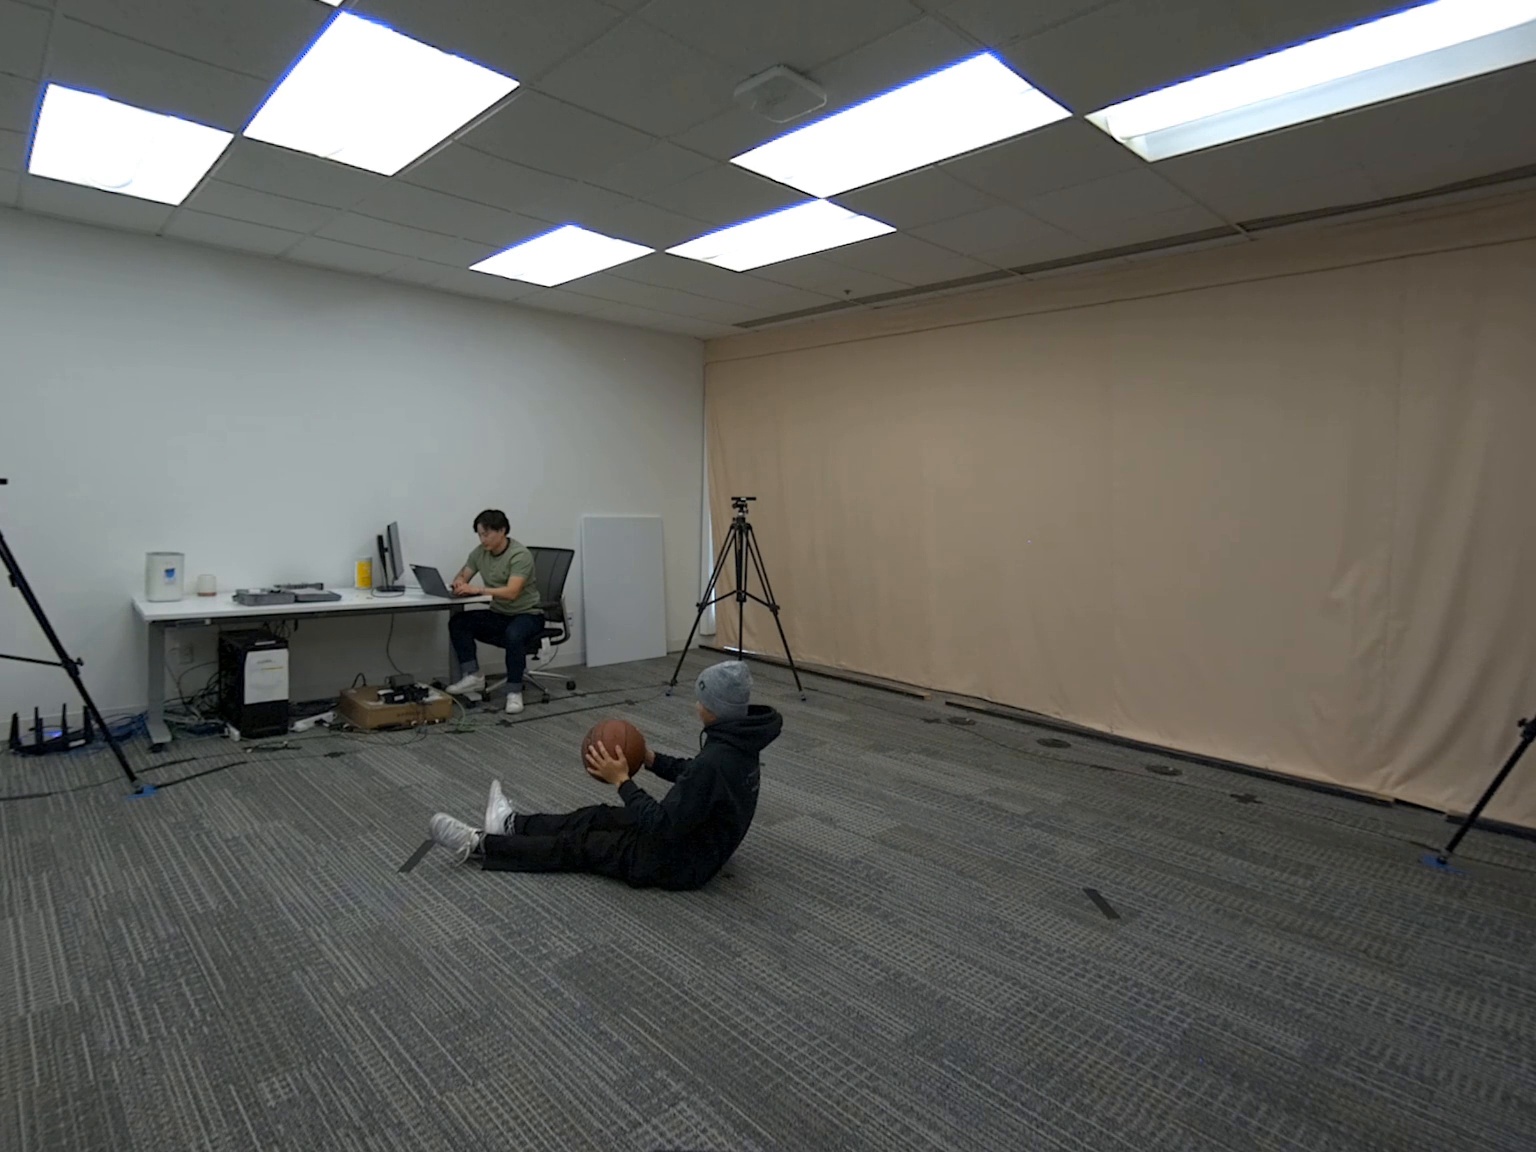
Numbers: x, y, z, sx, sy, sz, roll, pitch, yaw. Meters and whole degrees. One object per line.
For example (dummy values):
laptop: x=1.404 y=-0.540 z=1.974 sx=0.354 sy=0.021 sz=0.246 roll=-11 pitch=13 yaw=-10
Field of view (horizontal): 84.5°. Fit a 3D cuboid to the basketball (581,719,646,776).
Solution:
basketball: x=-0.580 y=0.657 z=3.184 sx=0.236 sy=0.235 sz=0.237 roll=1 pitch=4 yaw=-1
